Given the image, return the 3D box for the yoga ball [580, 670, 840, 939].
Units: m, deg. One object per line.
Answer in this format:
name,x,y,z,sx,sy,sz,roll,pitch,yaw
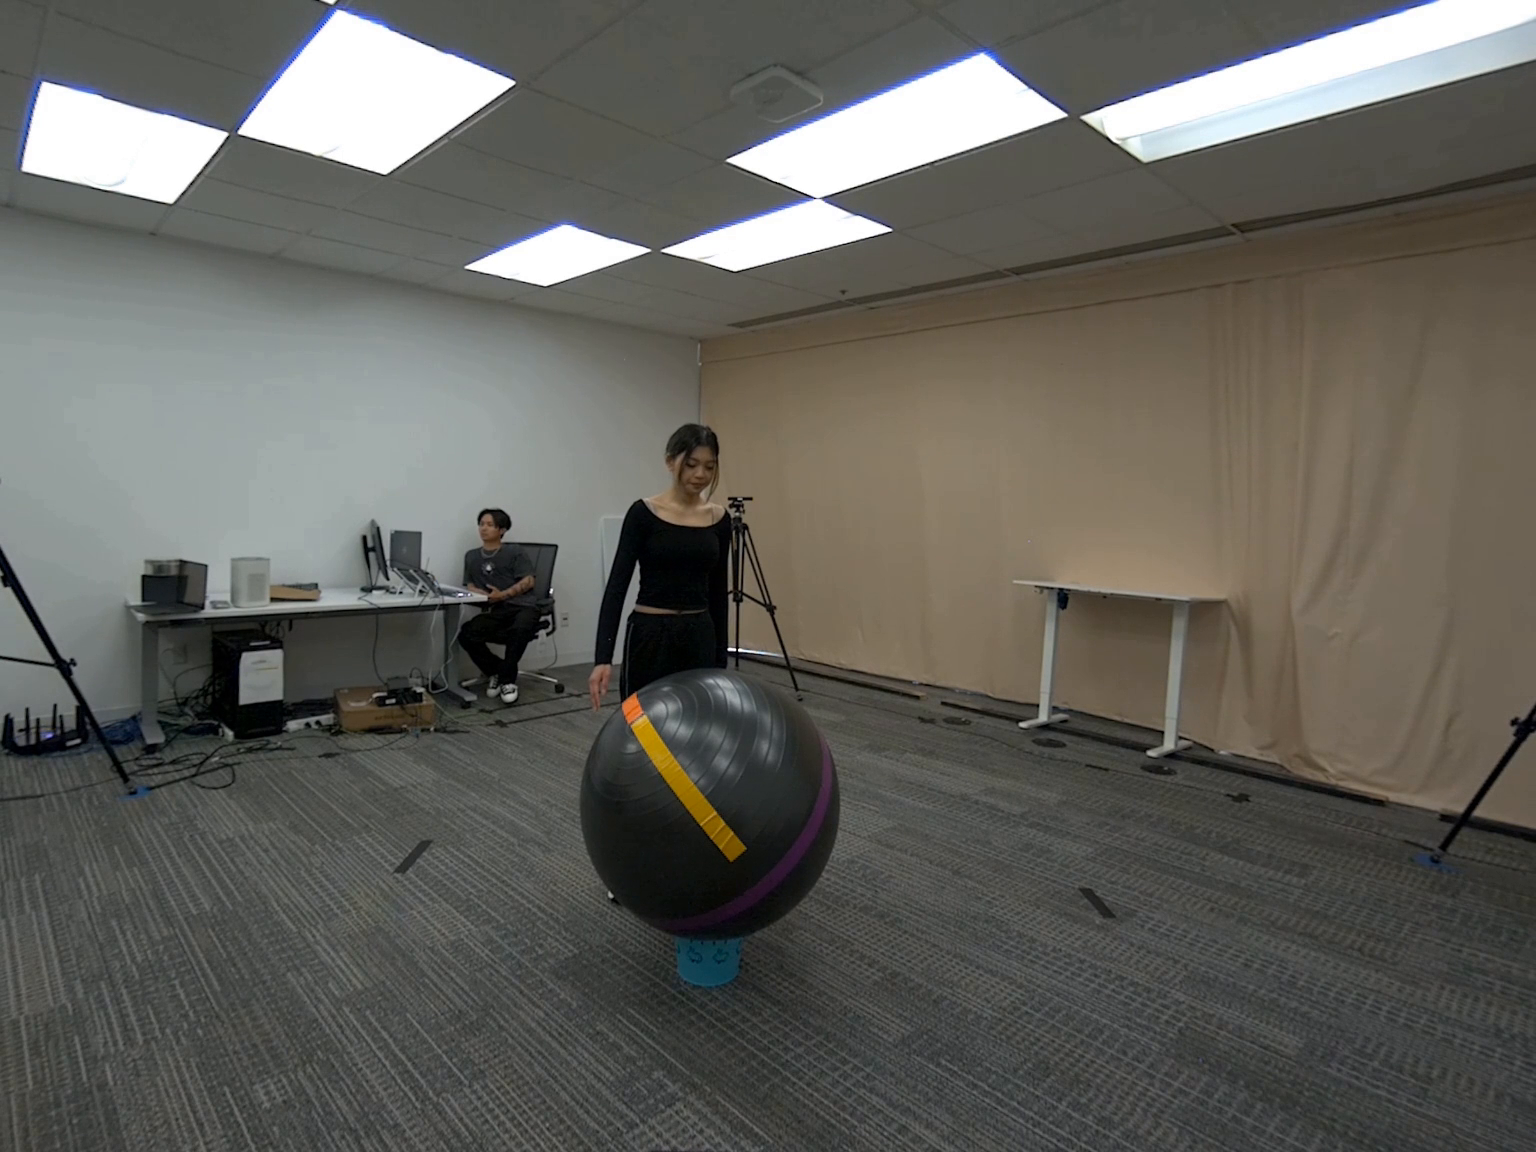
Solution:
yoga ball,-0.171,0.660,2.454,0.757,0.756,0.761,1,4,-1
